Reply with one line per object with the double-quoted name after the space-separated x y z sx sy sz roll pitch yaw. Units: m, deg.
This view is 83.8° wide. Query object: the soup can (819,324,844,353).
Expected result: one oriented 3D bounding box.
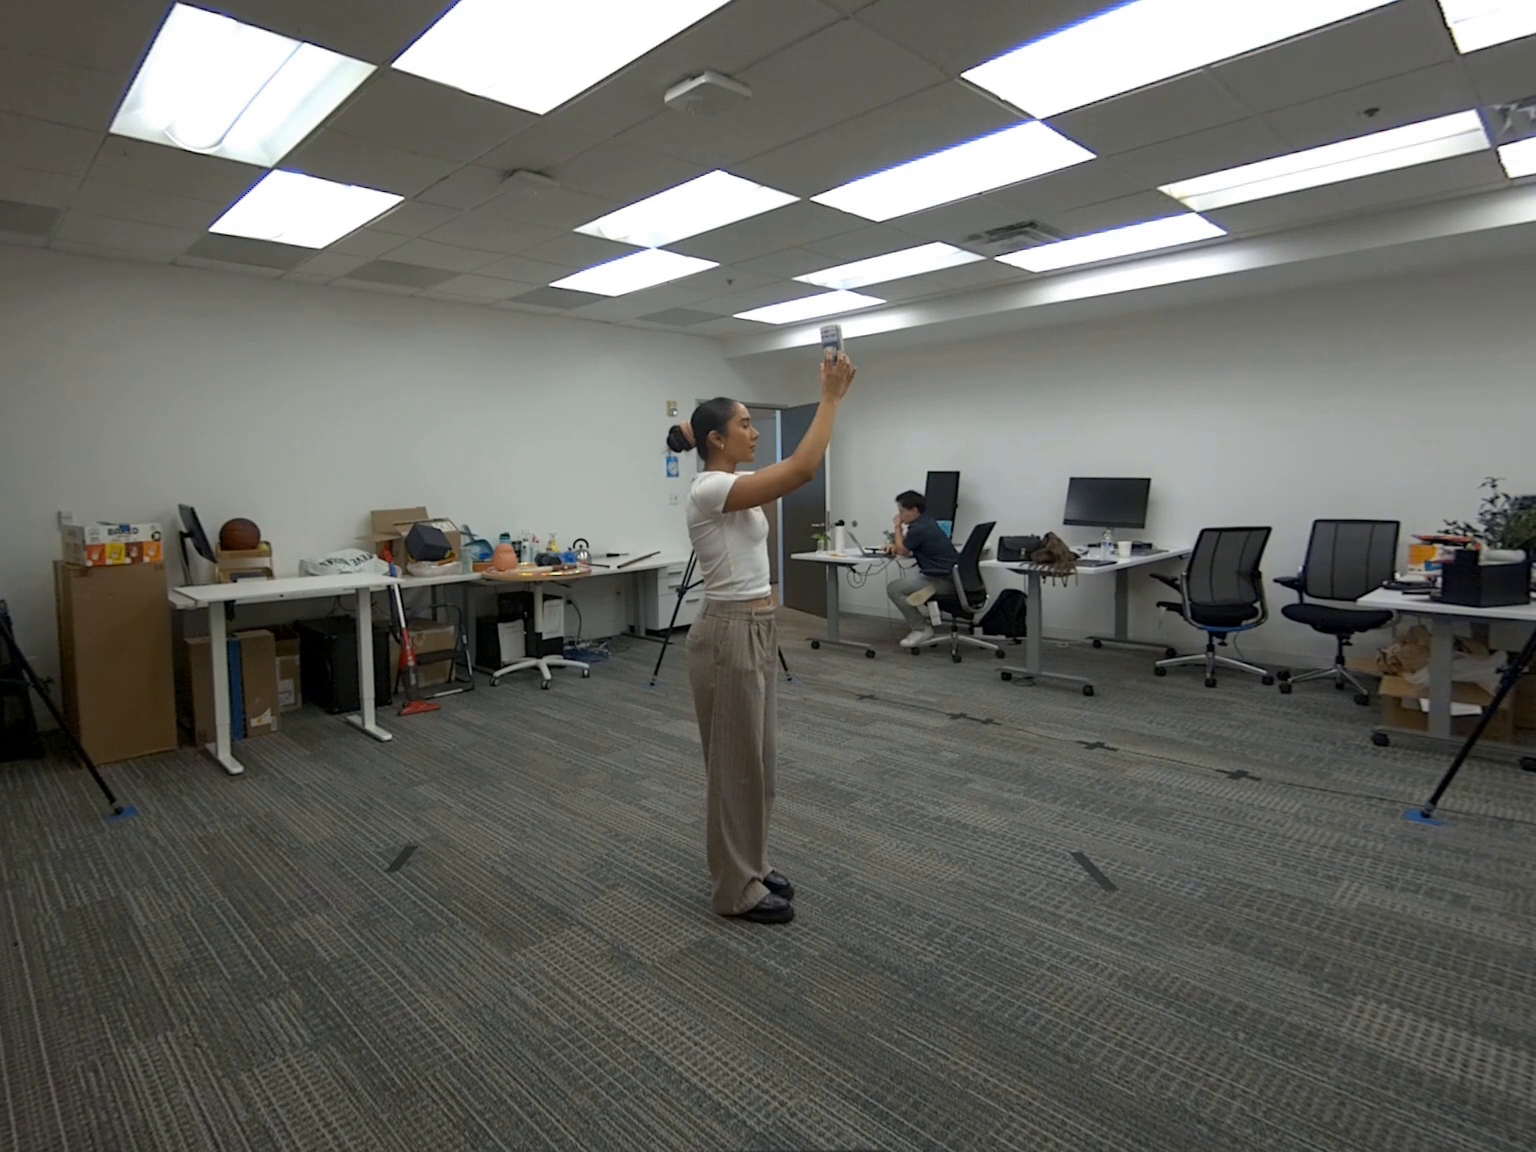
0.200 -0.704 2.601 0.067 0.121 0.067 -5 4 -1 "soup can"
